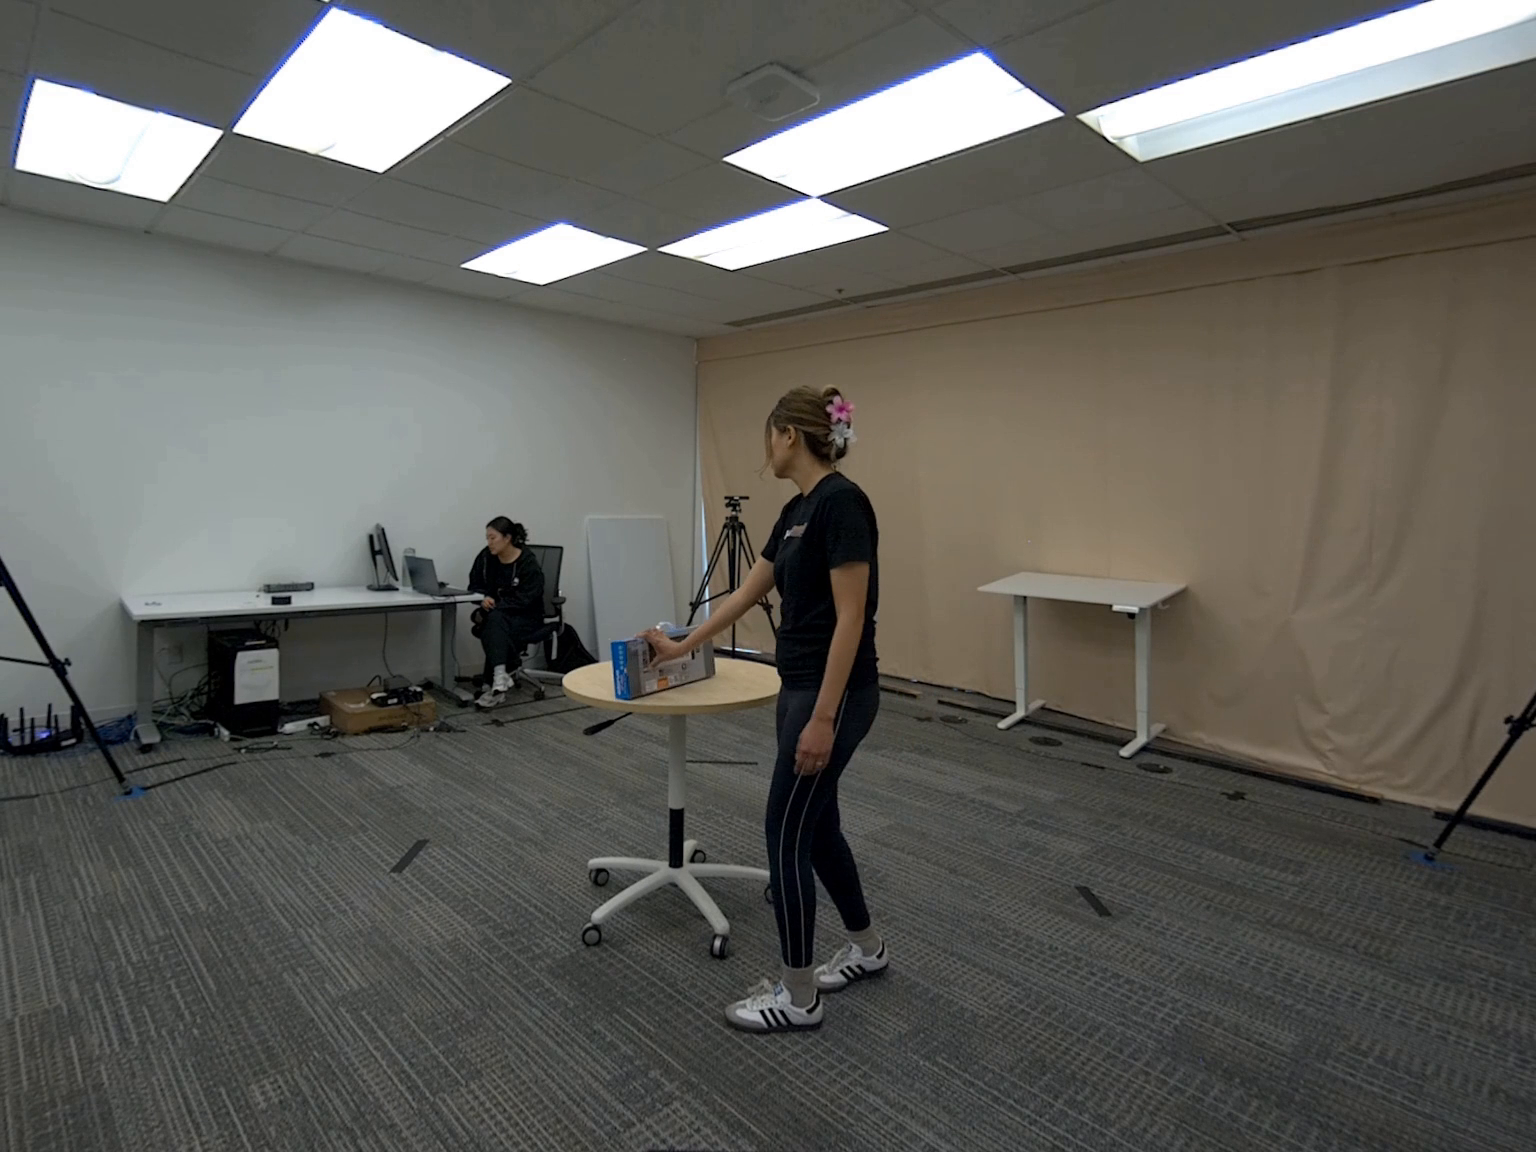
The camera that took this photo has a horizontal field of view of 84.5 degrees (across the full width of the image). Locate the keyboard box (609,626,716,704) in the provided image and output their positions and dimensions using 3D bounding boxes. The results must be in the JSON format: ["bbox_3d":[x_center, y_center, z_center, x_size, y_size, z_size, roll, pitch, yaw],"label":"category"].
[{"bbox_3d":[-0.325,0.271,2.675,0.060,0.176,0.428,-4,1,33],"label":"keyboard box"}]
